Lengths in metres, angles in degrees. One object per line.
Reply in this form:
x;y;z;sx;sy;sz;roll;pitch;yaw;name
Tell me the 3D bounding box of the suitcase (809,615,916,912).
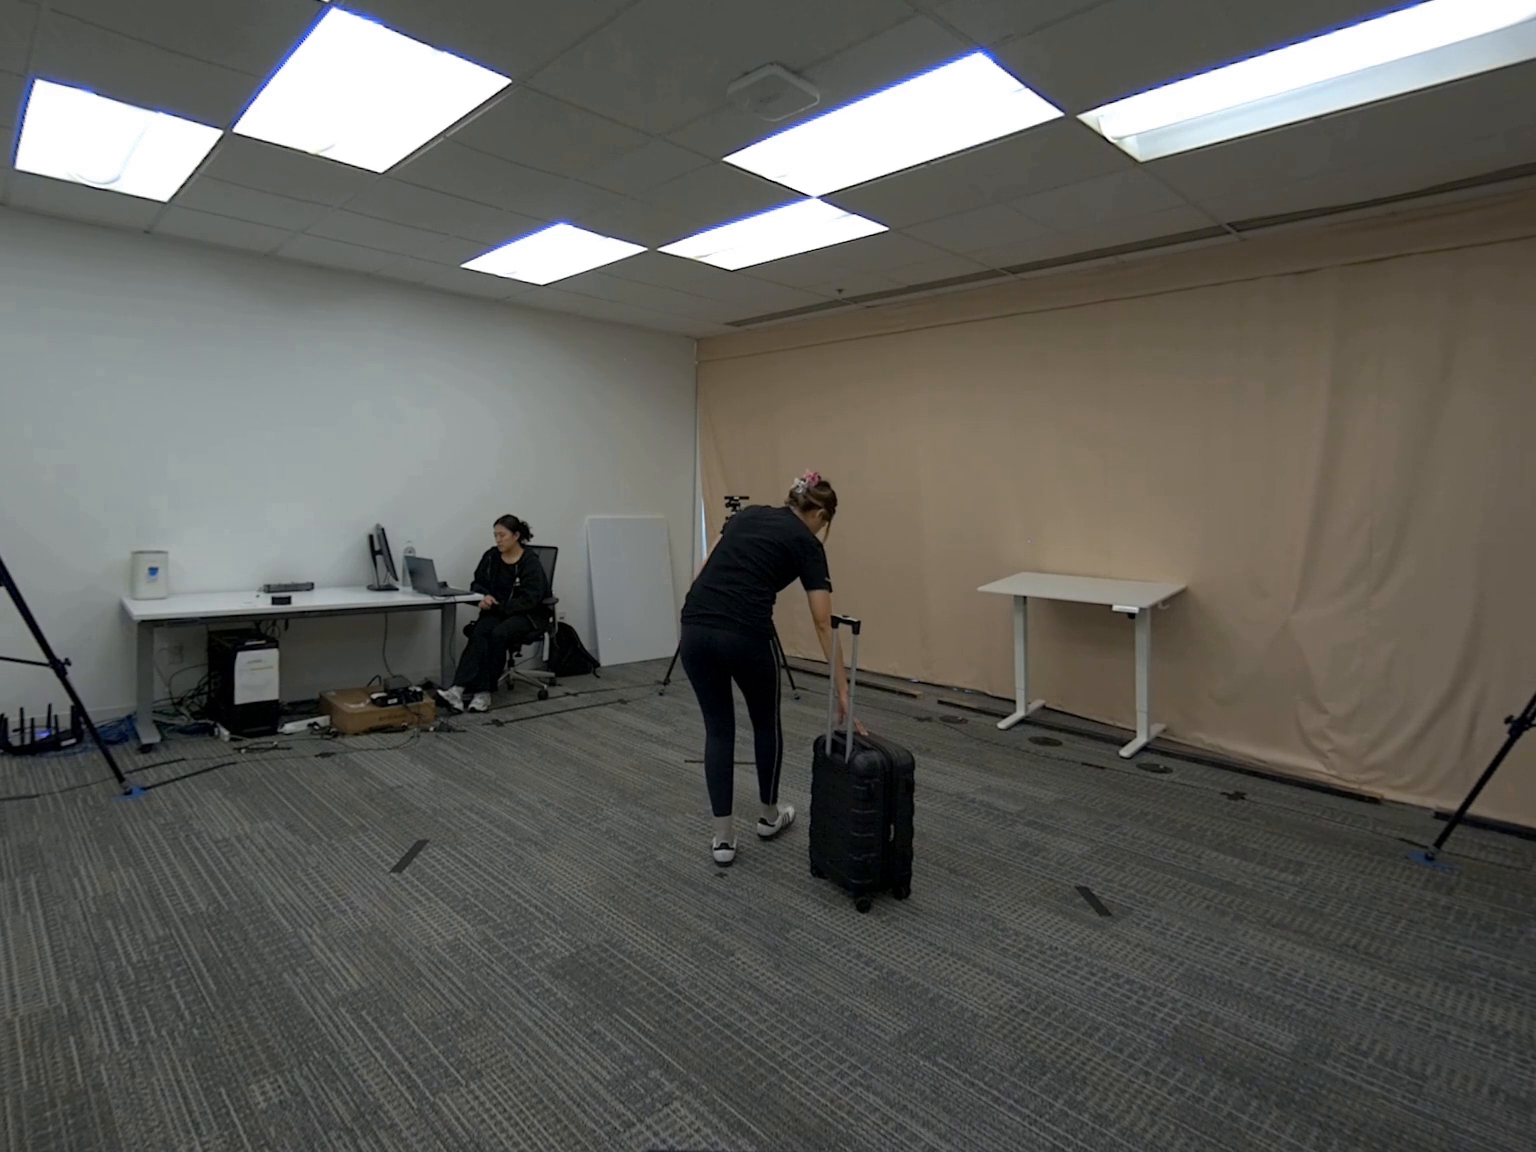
0.343;0.648;3.012;0.252;0.977;0.391;2;3;-24;suitcase
